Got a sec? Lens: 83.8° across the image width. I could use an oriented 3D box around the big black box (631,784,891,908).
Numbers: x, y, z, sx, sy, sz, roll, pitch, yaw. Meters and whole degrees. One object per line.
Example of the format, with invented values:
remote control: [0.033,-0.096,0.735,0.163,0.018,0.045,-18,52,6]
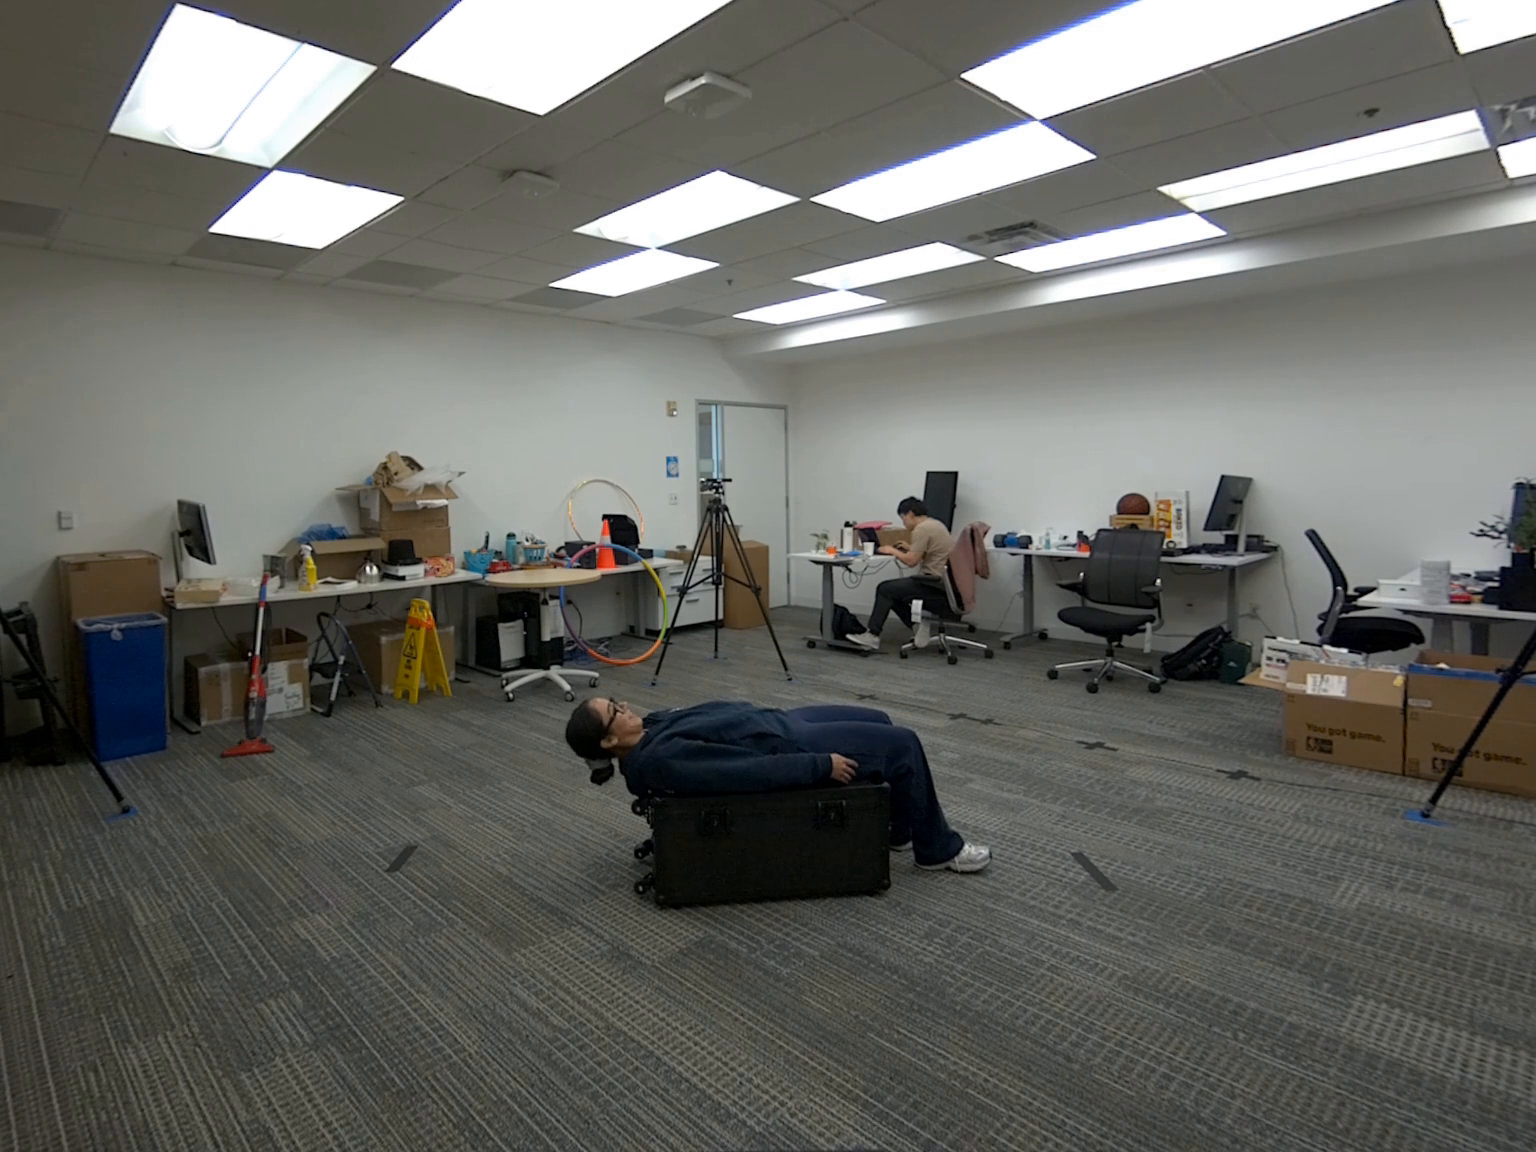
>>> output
big black box: [-0.055,0.860,3.027,0.856,0.394,0.528,-2,7,-7]
